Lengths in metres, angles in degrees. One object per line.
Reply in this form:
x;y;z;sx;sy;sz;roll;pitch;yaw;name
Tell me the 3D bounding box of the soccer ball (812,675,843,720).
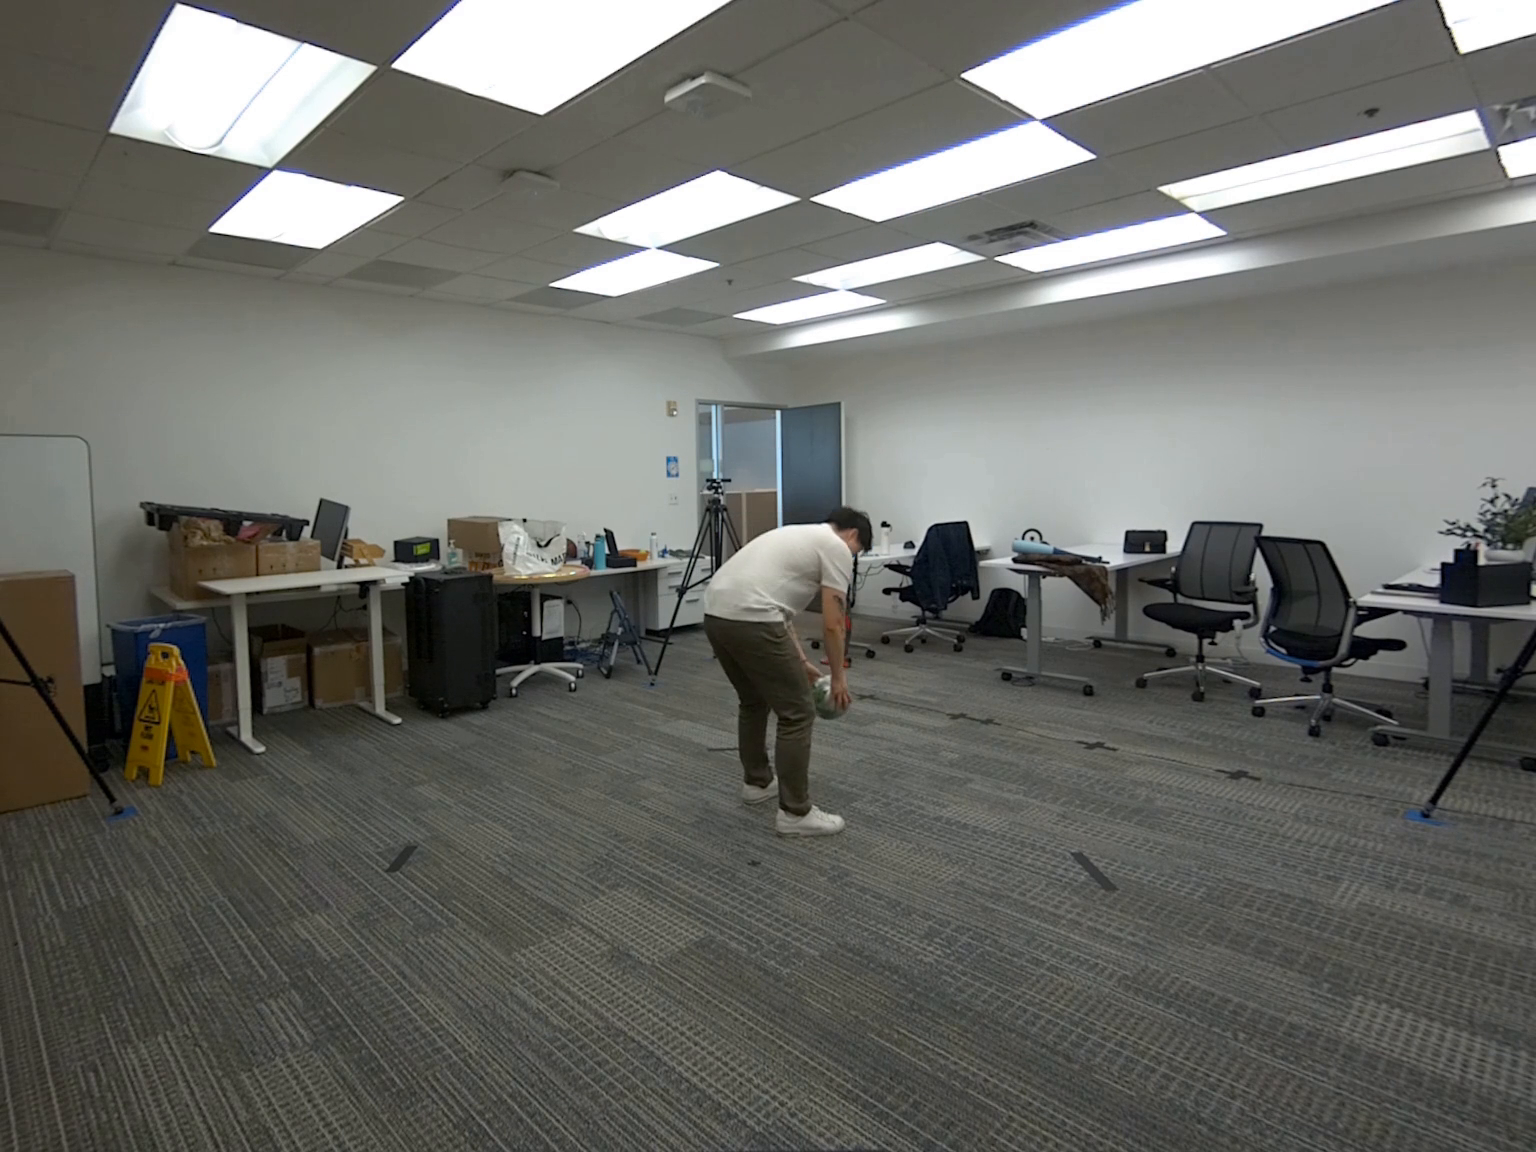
0.256;0.512;3.635;0.187;0.187;0.188;-1;5;-2;soccer ball
